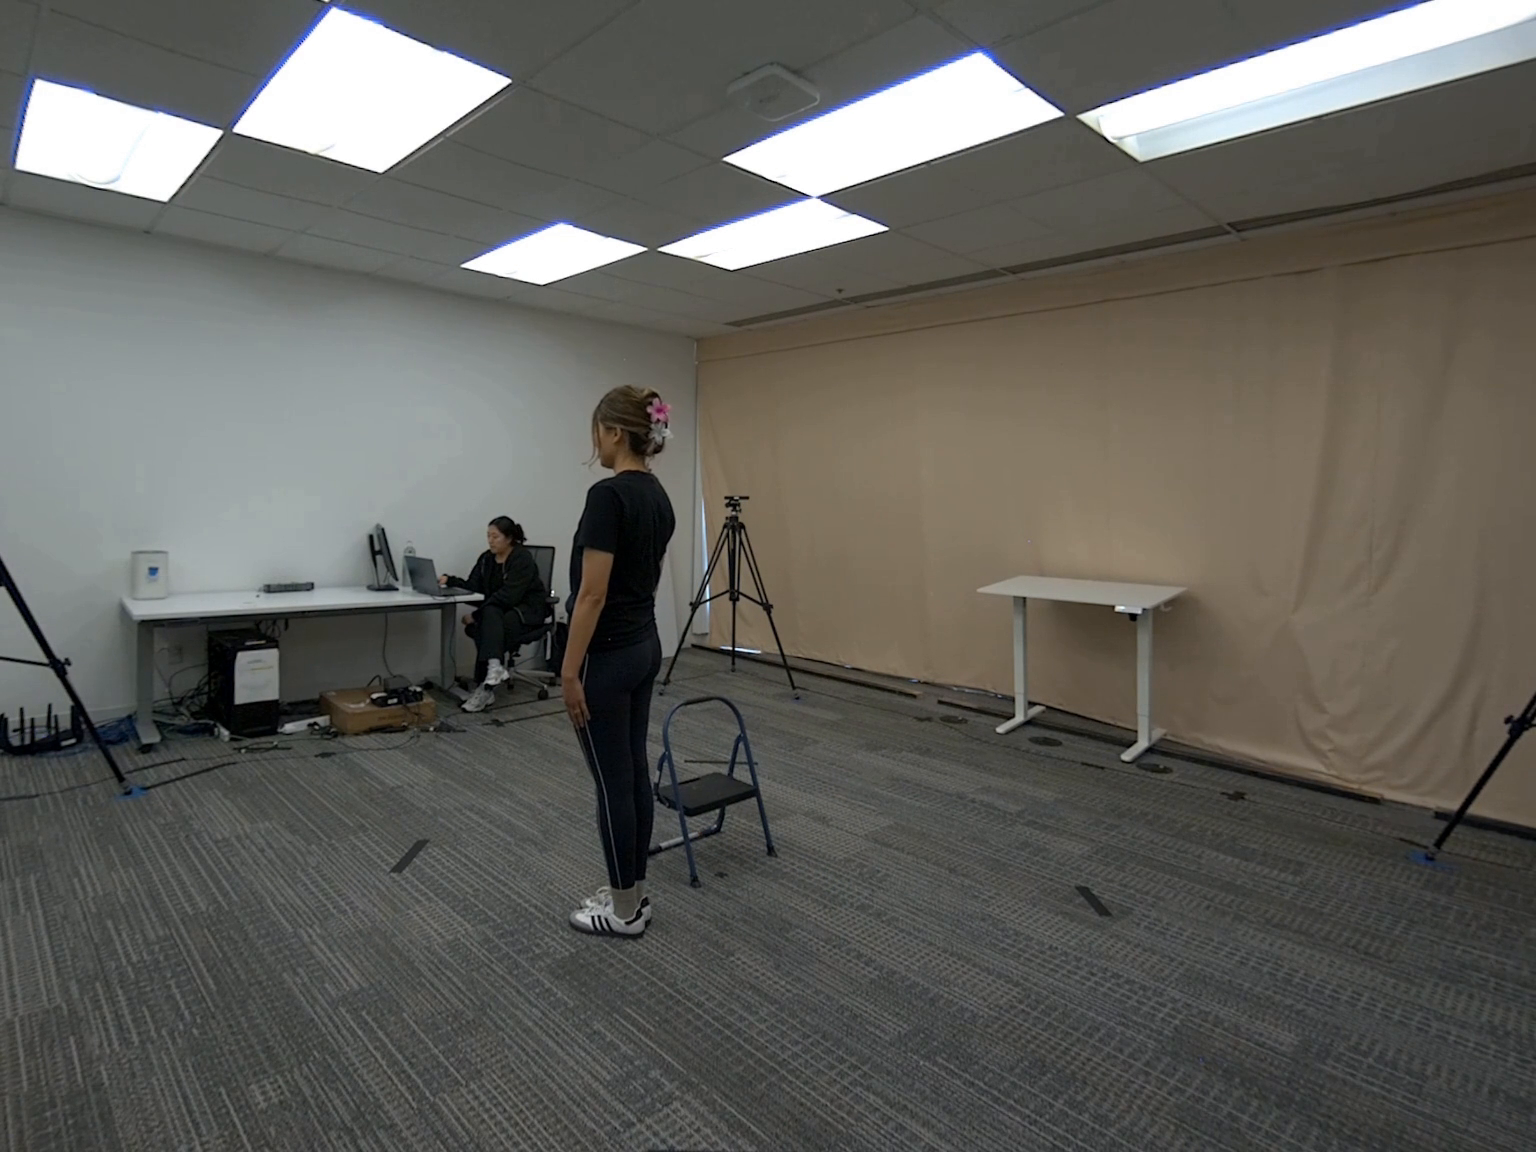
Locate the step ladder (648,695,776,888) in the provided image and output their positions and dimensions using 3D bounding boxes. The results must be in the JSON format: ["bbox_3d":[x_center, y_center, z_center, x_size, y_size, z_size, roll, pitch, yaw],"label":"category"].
[{"bbox_3d":[-0.229,0.785,3.251,0.358,0.604,0.421,5,5,44],"label":"step ladder"}]
